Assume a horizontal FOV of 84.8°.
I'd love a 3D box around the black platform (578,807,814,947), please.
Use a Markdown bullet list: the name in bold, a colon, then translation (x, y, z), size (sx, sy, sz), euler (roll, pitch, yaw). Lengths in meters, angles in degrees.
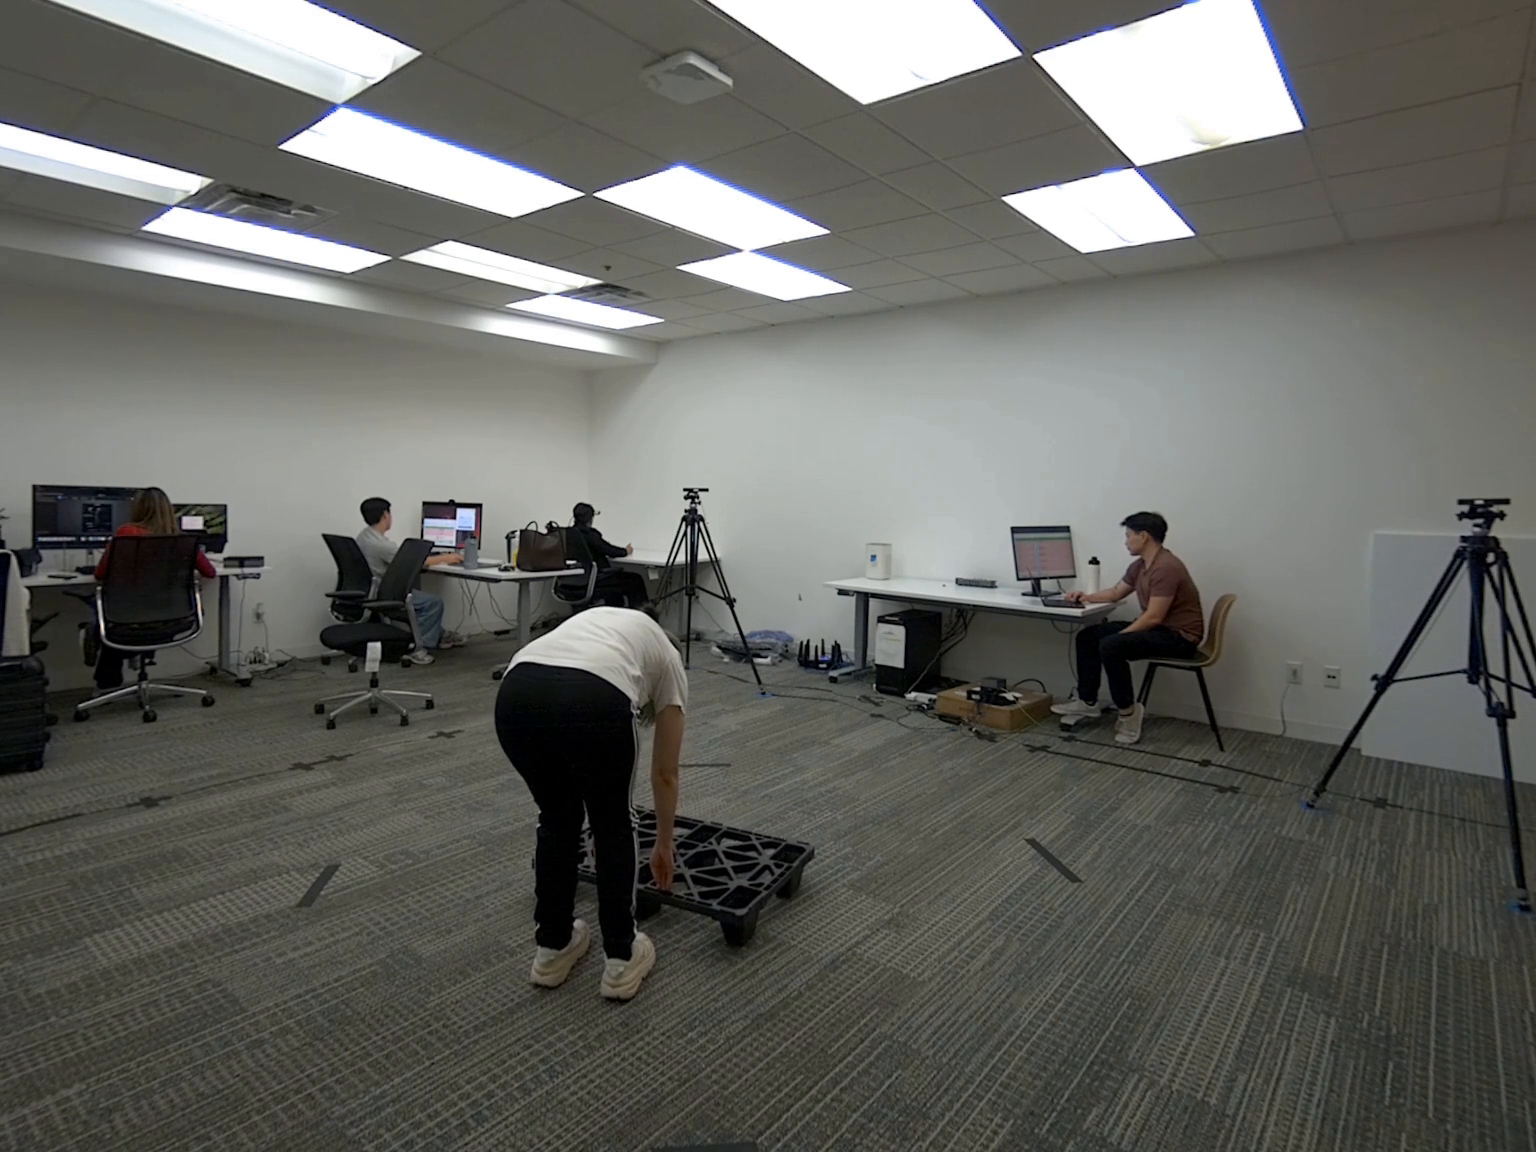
- **black platform**: translation (-0.319, 1.016, 2.936), size (0.827, 0.143, 0.591), euler (3, 6, 27)
